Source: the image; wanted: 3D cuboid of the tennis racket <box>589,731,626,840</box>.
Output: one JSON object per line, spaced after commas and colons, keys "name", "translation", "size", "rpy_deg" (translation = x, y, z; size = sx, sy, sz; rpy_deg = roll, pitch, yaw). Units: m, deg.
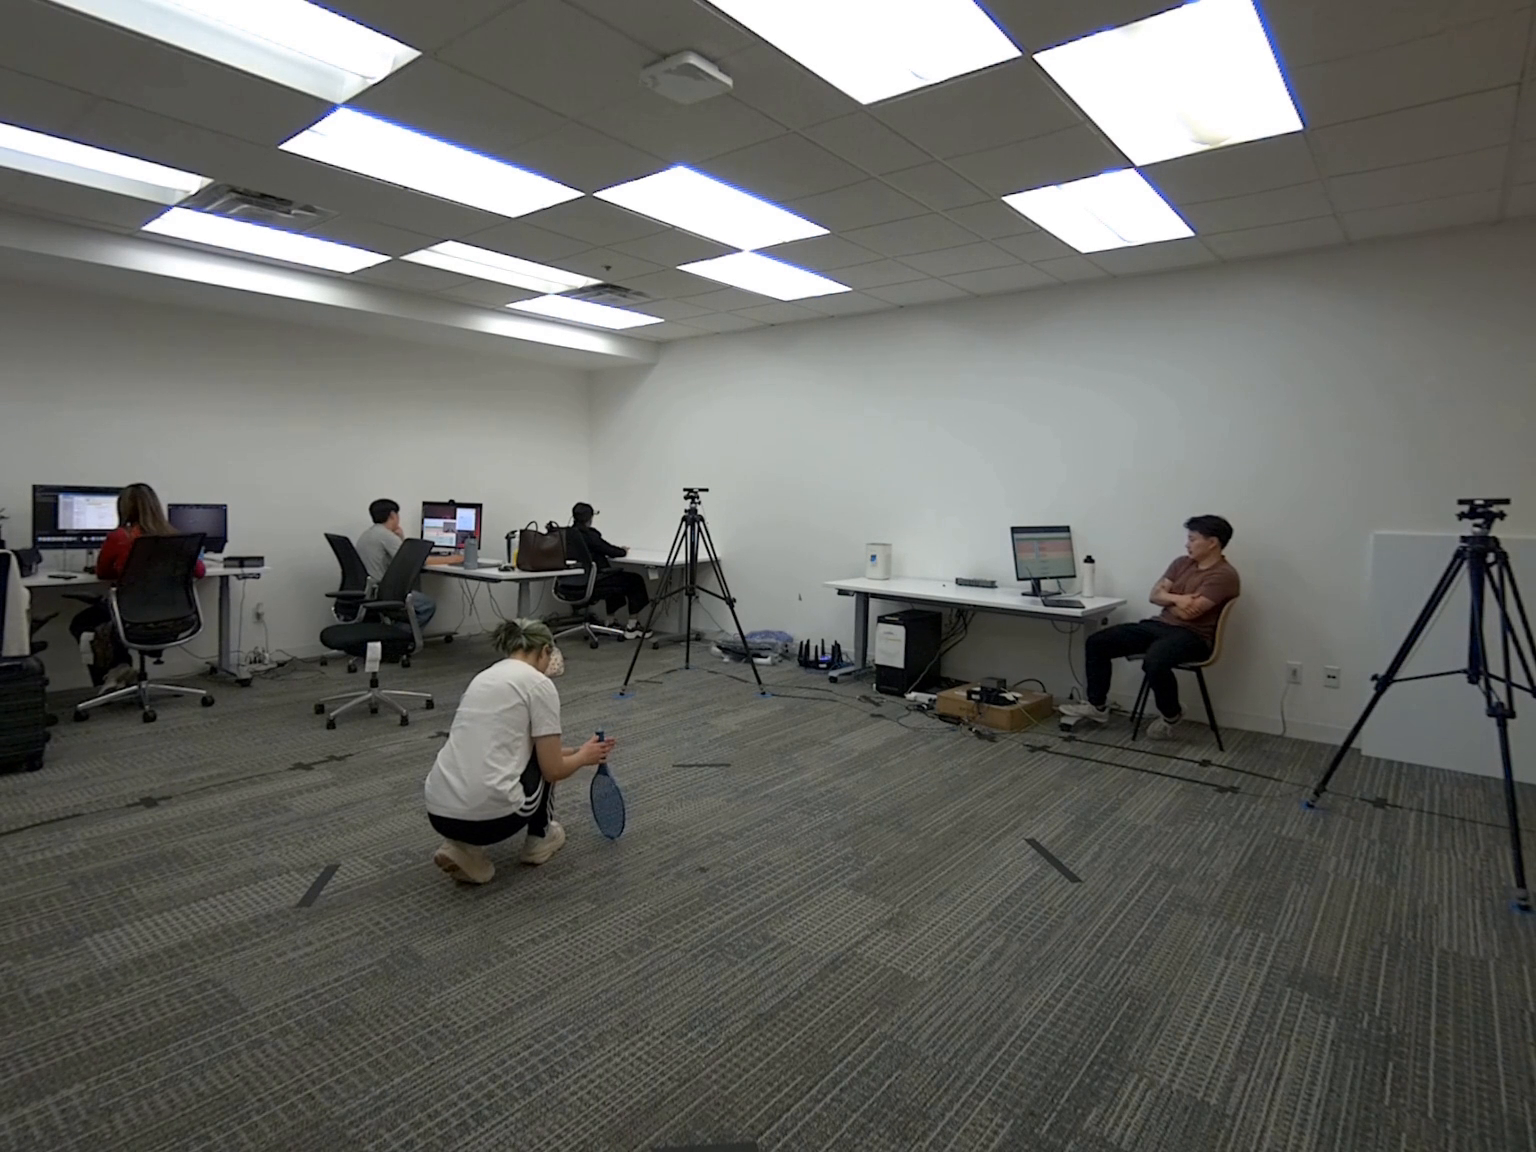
{"name": "tennis racket", "translation": [-0.650, 0.826, 3.357], "size": [0.220, 0.432, 0.031], "rpy_deg": [0, 4, 42]}
